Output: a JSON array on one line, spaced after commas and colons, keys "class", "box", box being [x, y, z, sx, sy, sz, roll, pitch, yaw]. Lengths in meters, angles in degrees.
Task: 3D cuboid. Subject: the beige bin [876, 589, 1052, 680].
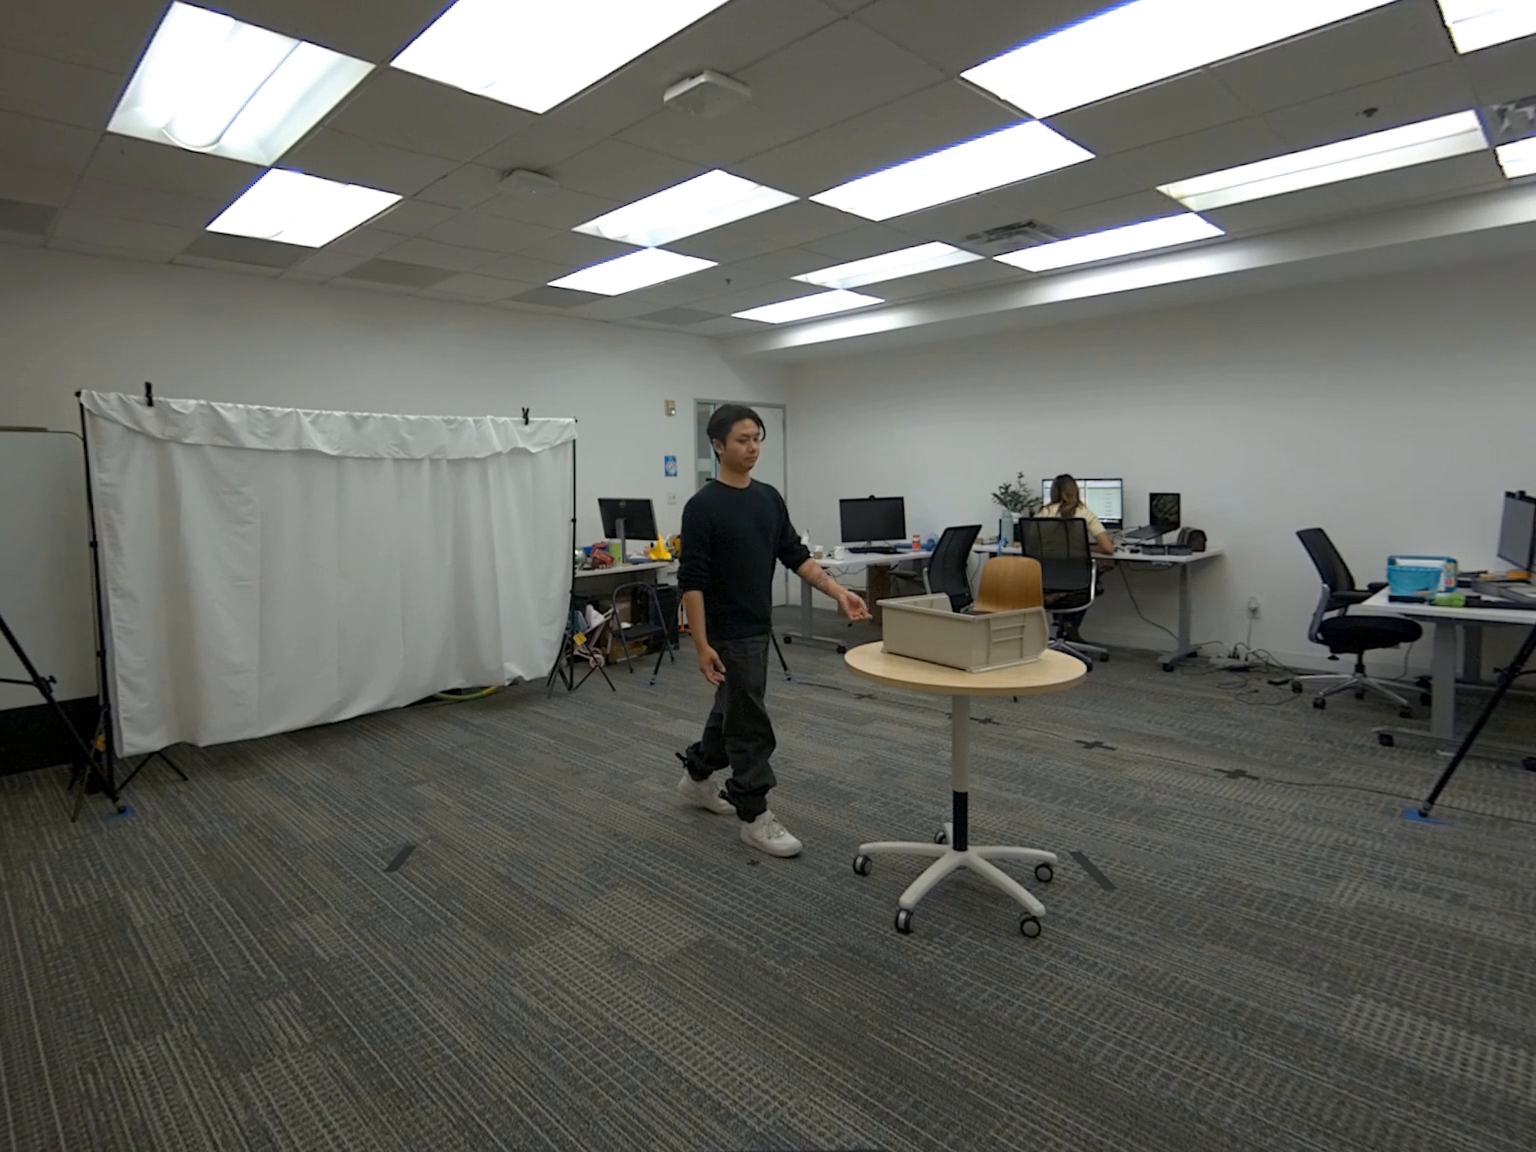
[{"class": "beige bin", "box": [0.652, 0.181, 2.882, 0.368, 0.188, 0.435, -6, 9, -35]}]
